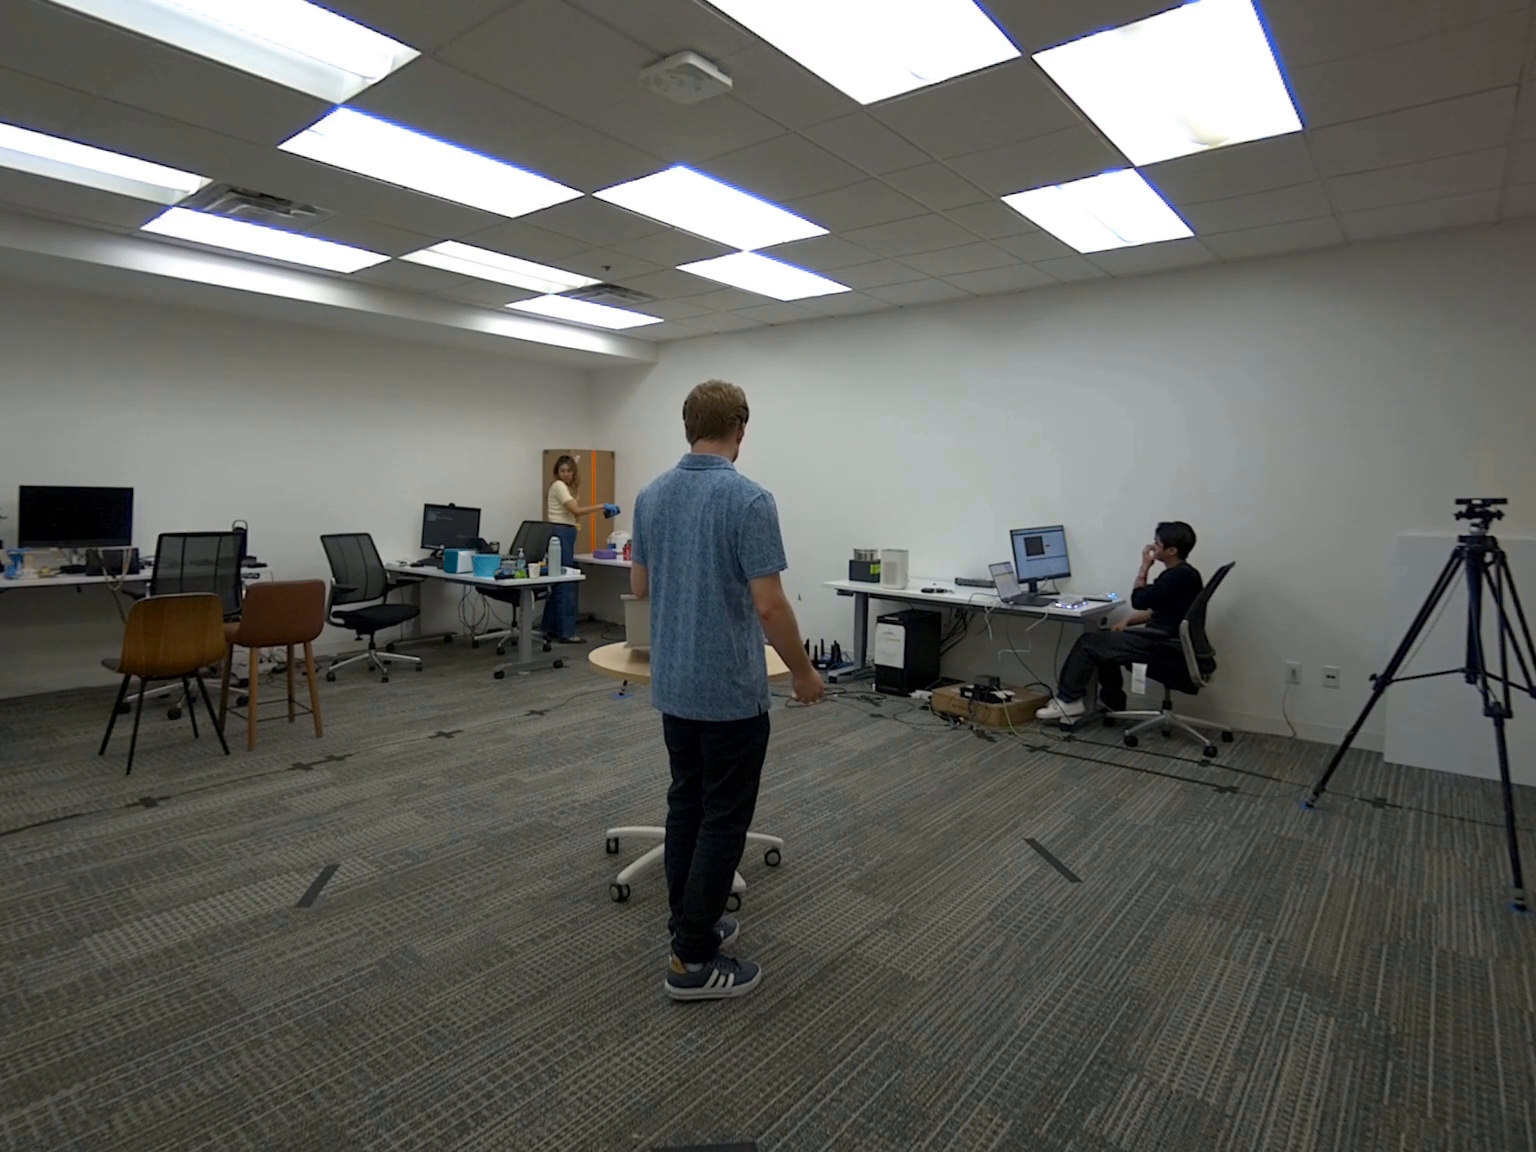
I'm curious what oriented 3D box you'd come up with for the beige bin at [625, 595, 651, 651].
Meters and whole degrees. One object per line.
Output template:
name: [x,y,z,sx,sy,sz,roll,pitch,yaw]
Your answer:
beige bin: [-0.302,0.159,3.083,0.421,0.189,0.378,-1,-2,-4]
